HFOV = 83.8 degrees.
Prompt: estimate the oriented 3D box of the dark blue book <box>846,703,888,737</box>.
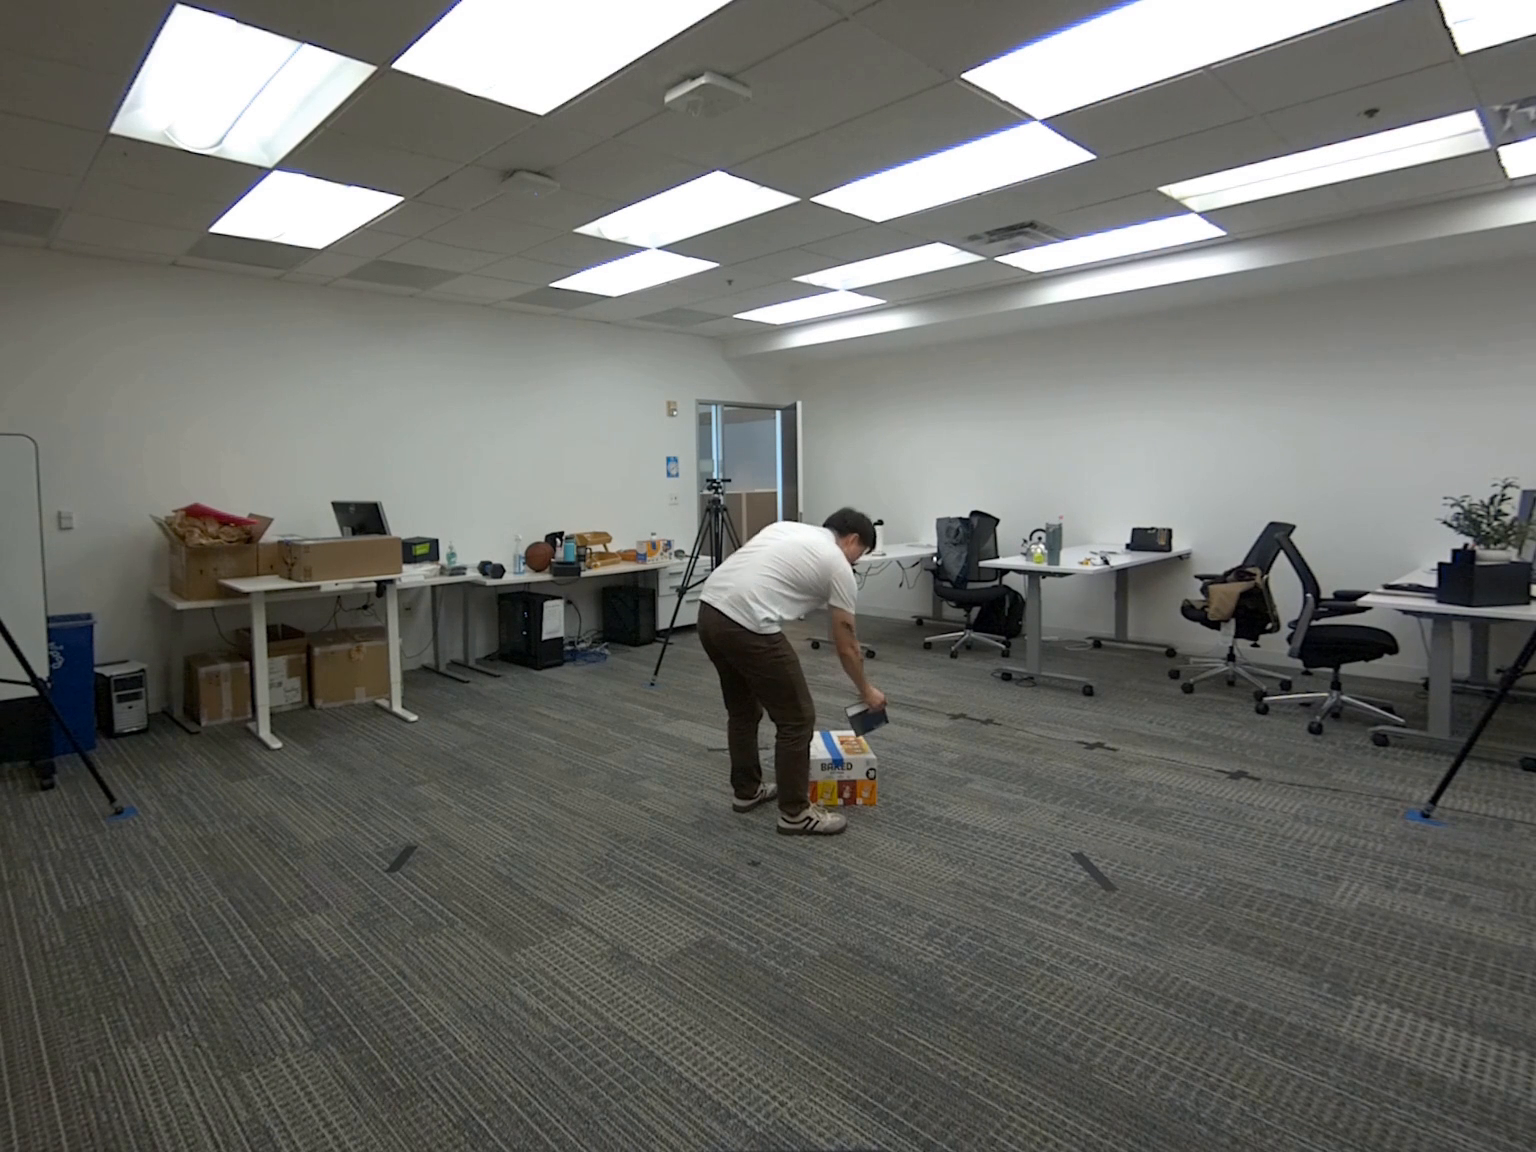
[{"bbox_3d":[0.428,0.599,3.691,0.163,0.047,0.236,-25,-35,2],"label":"dark blue book"}]
